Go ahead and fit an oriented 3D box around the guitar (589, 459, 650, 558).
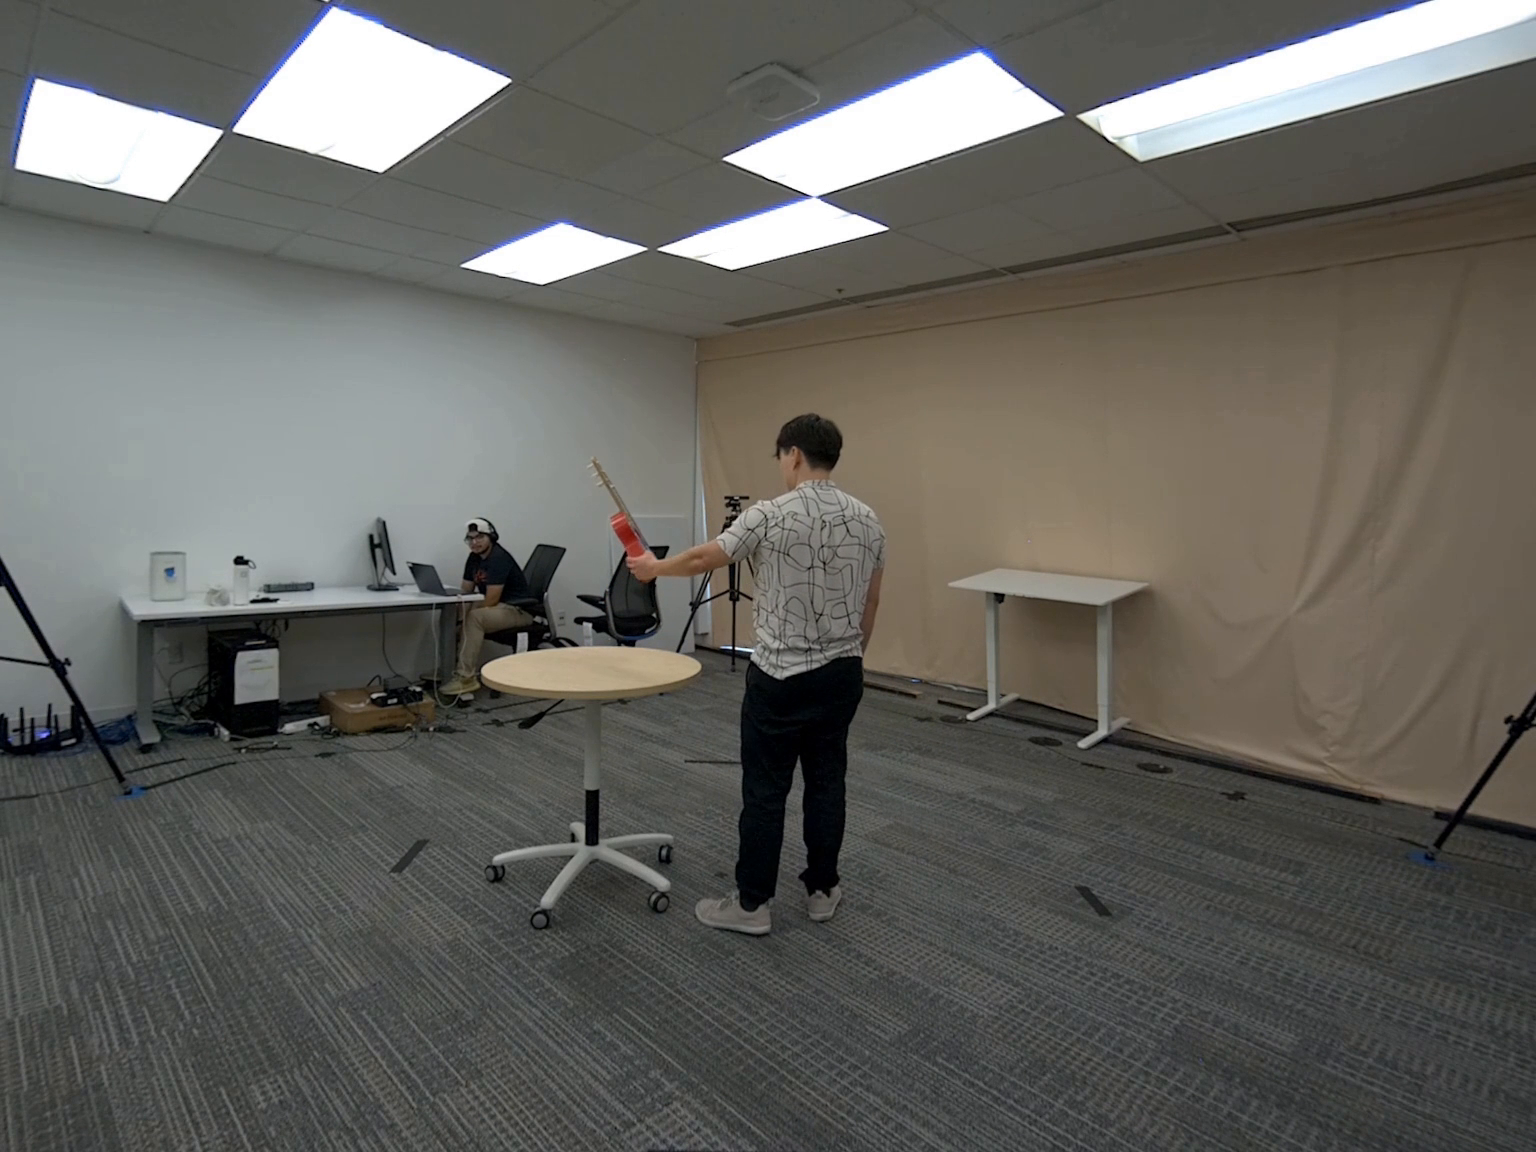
[{"bbox_3d":[-0.545,-0.208,3.146,0.071,0.501,0.191,-29,-5,4],"label":"guitar"}]
